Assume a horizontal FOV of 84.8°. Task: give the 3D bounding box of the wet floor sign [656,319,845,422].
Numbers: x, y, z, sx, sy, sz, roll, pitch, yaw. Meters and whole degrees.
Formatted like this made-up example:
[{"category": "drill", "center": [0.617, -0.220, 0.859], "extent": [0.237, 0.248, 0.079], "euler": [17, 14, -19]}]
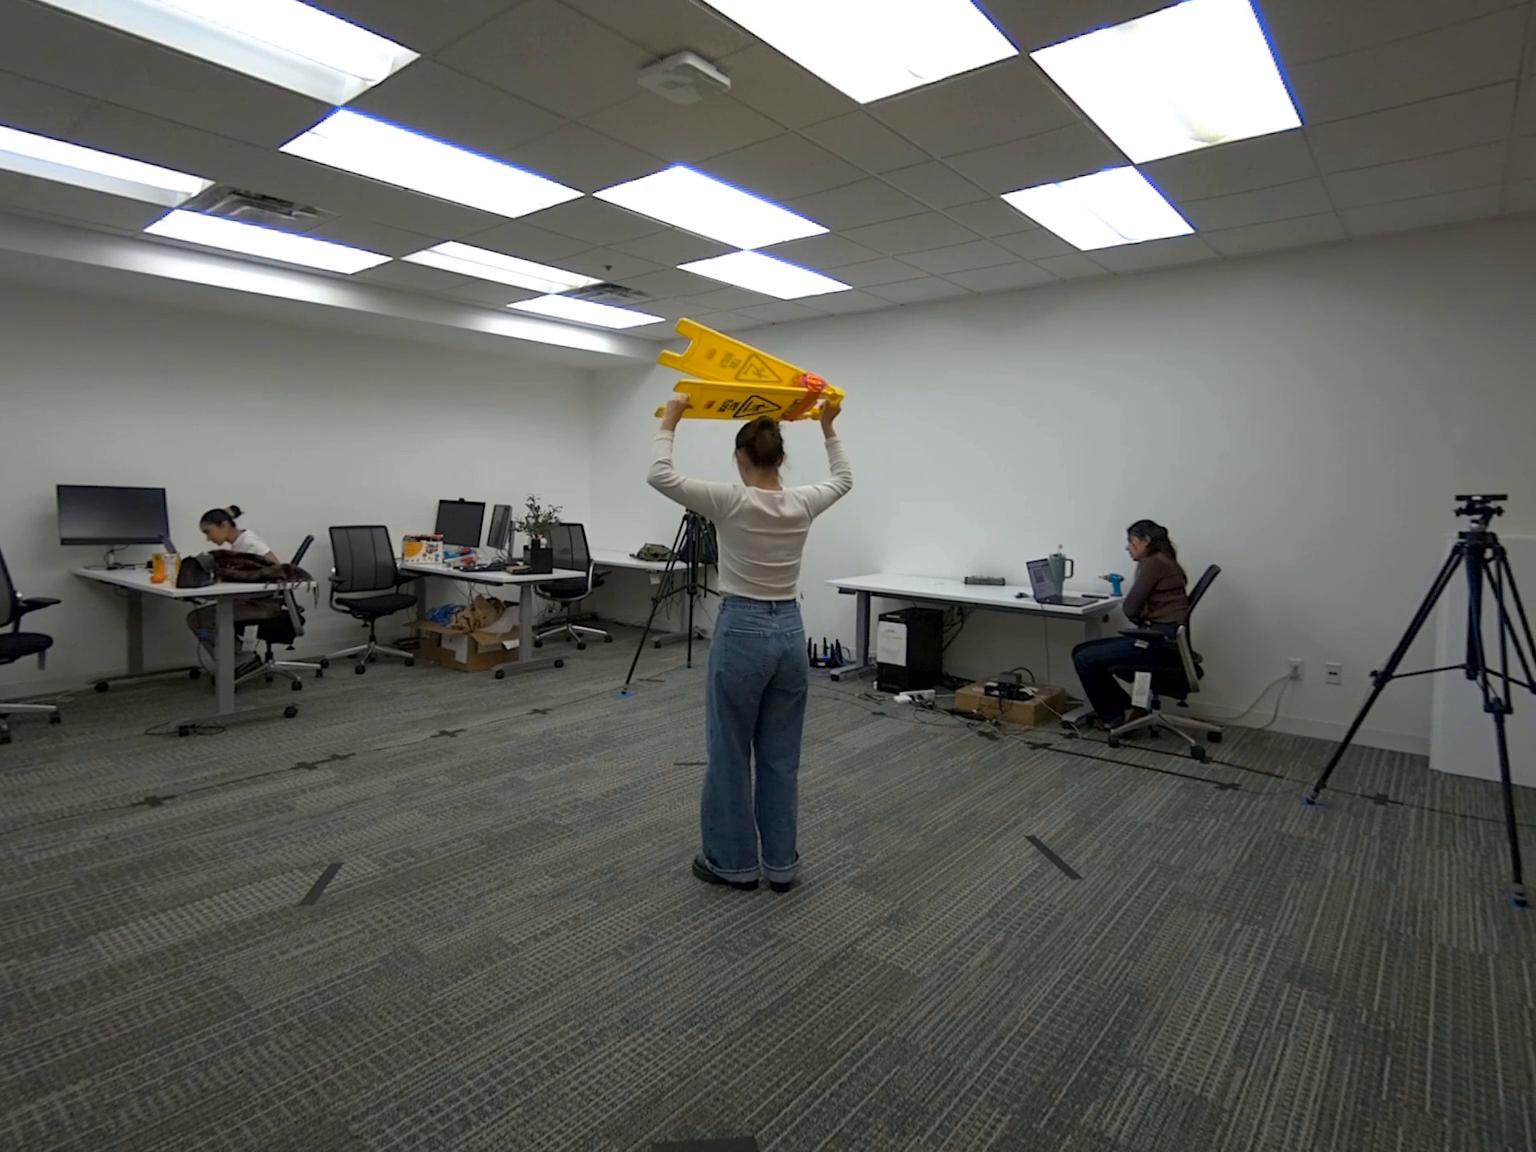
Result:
[{"category": "wet floor sign", "center": [-0.056, -0.673, 3.040], "extent": [0.631, 0.295, 0.283], "euler": [7, -22, -21]}]
